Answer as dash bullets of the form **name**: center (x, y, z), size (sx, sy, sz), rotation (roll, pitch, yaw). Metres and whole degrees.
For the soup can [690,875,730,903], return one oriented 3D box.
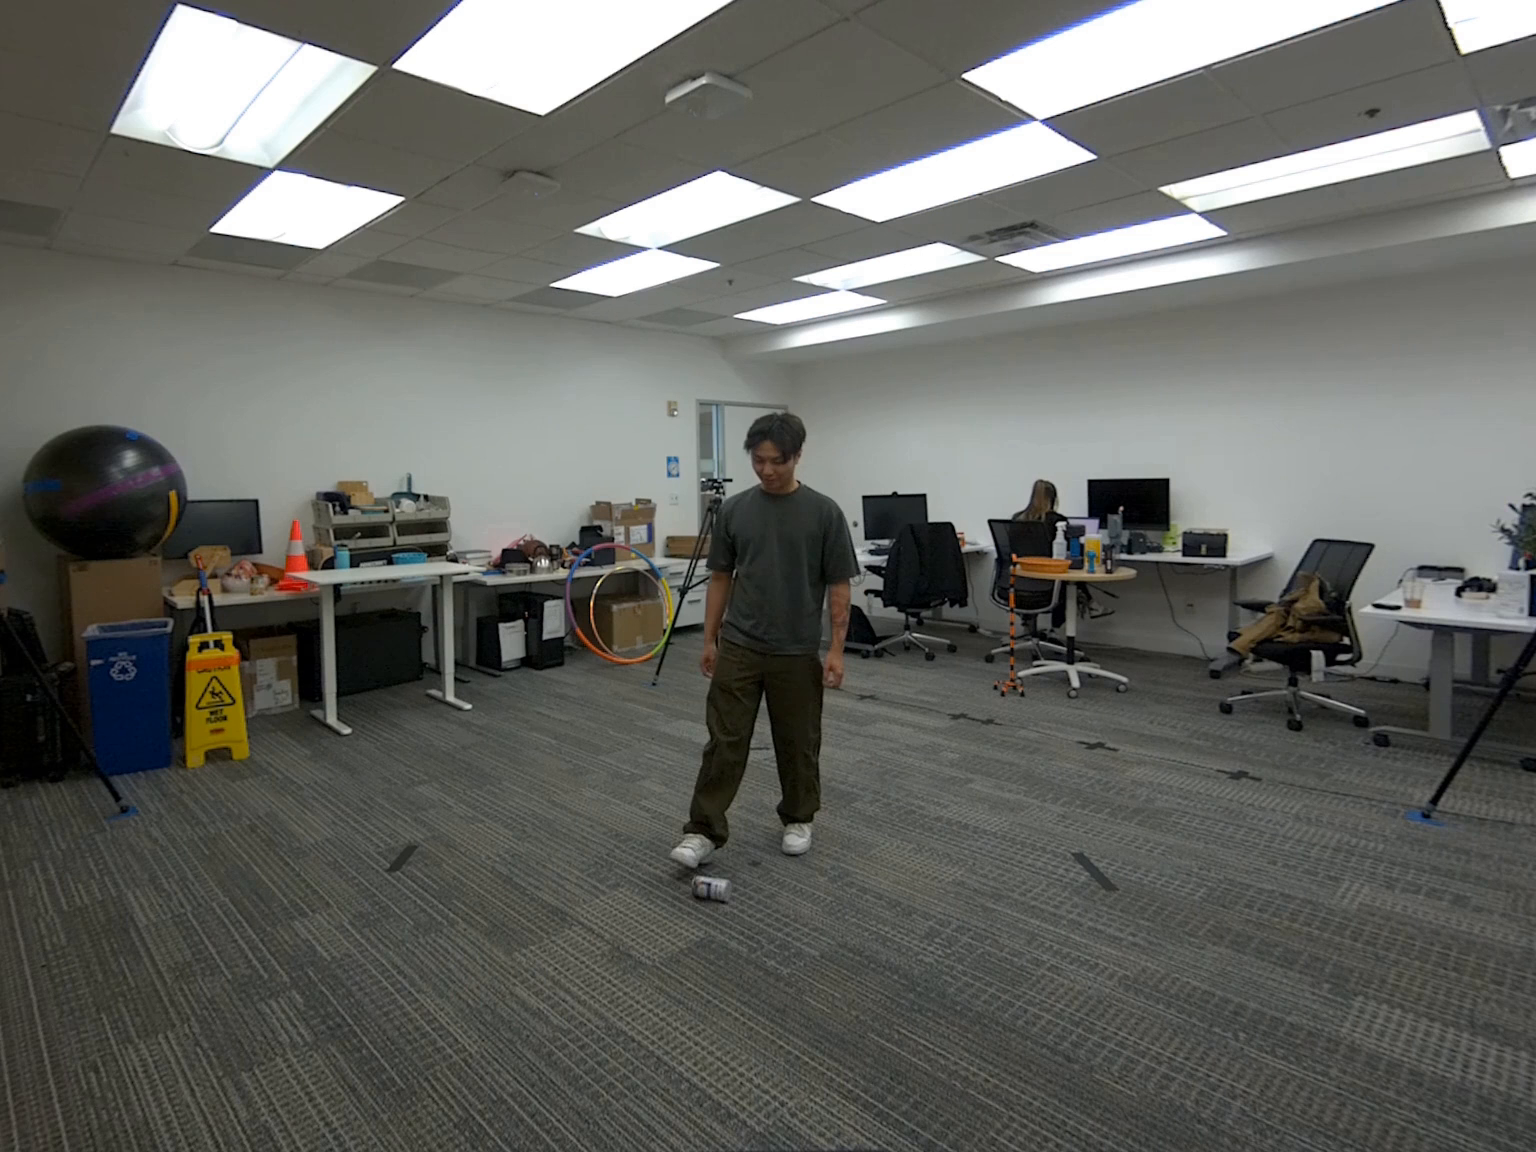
- **soup can**: center (-0.190, 1.043, 2.852), size (0.123, 0.067, 0.066), rotation (-3, 4, 16)
